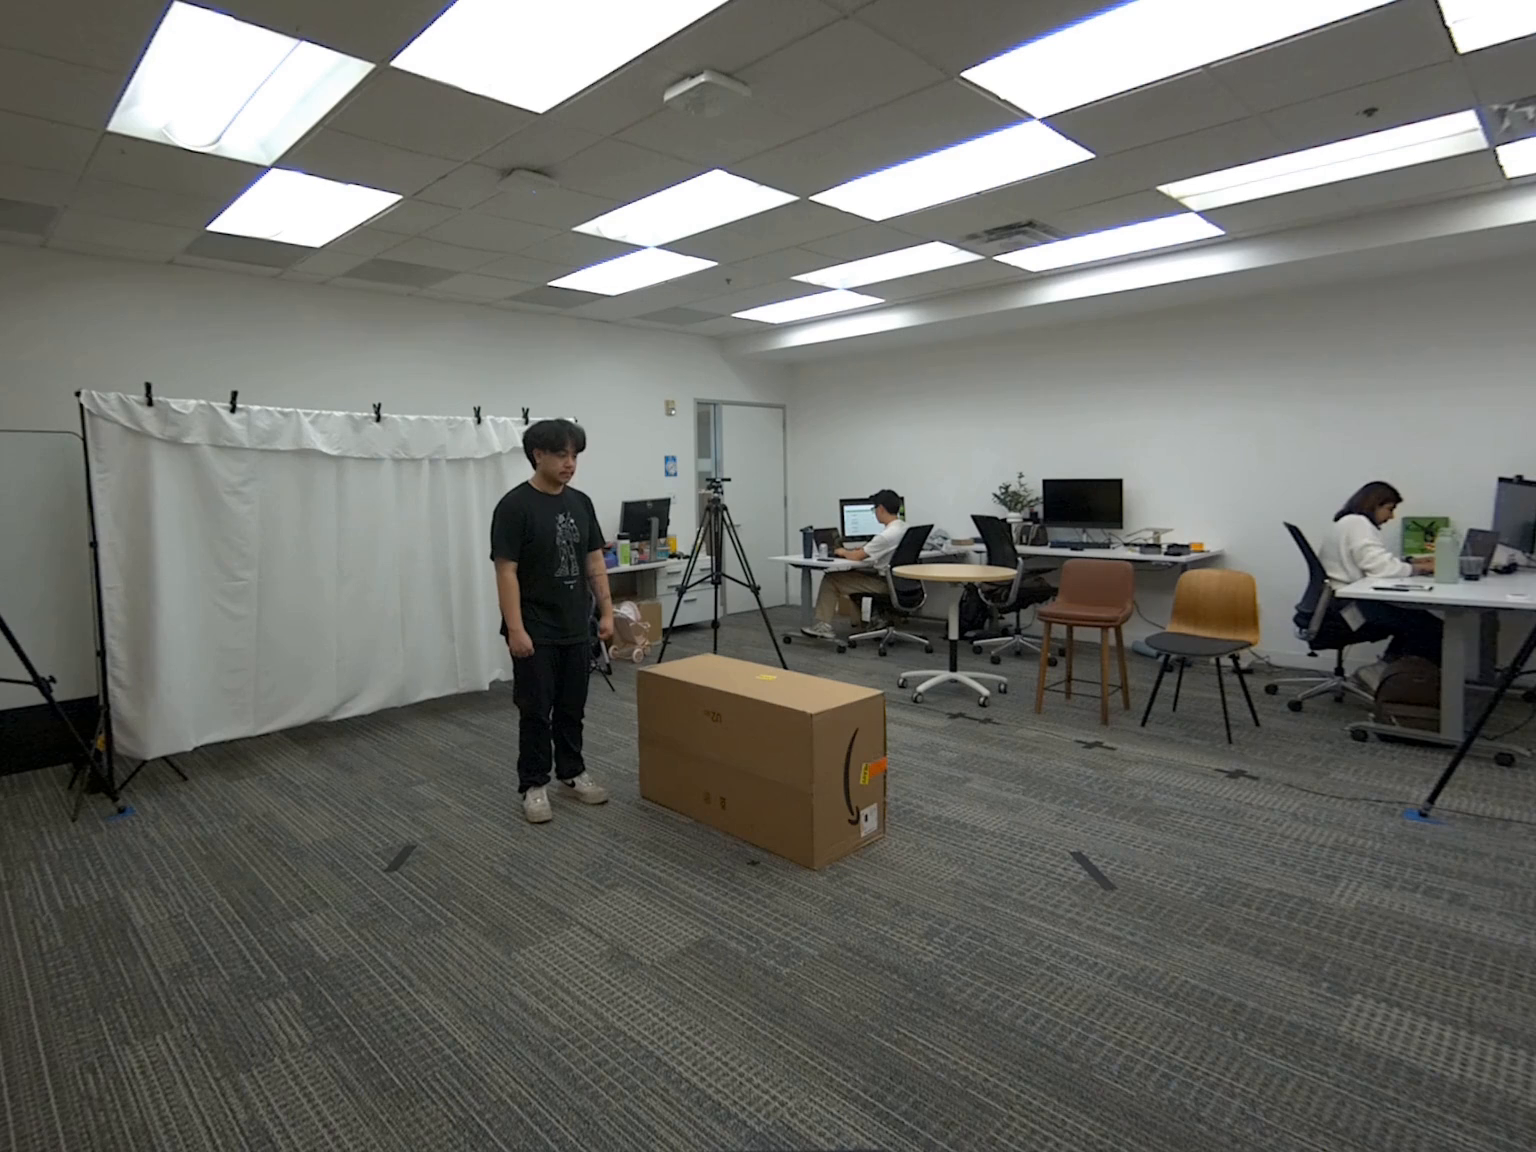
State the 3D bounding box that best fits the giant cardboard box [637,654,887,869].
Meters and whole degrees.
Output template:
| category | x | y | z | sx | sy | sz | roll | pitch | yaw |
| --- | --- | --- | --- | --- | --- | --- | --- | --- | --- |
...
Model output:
| category | x | y | z | sx | sy | sz | roll | pitch | yaw |
| --- | --- | --- | --- | --- | --- | --- | --- | --- | --- |
| giant cardboard box | -0.053 | 0.709 | 3.523 | 0.435 | 0.582 | 1.059 | -4 | 7 | -44 |
